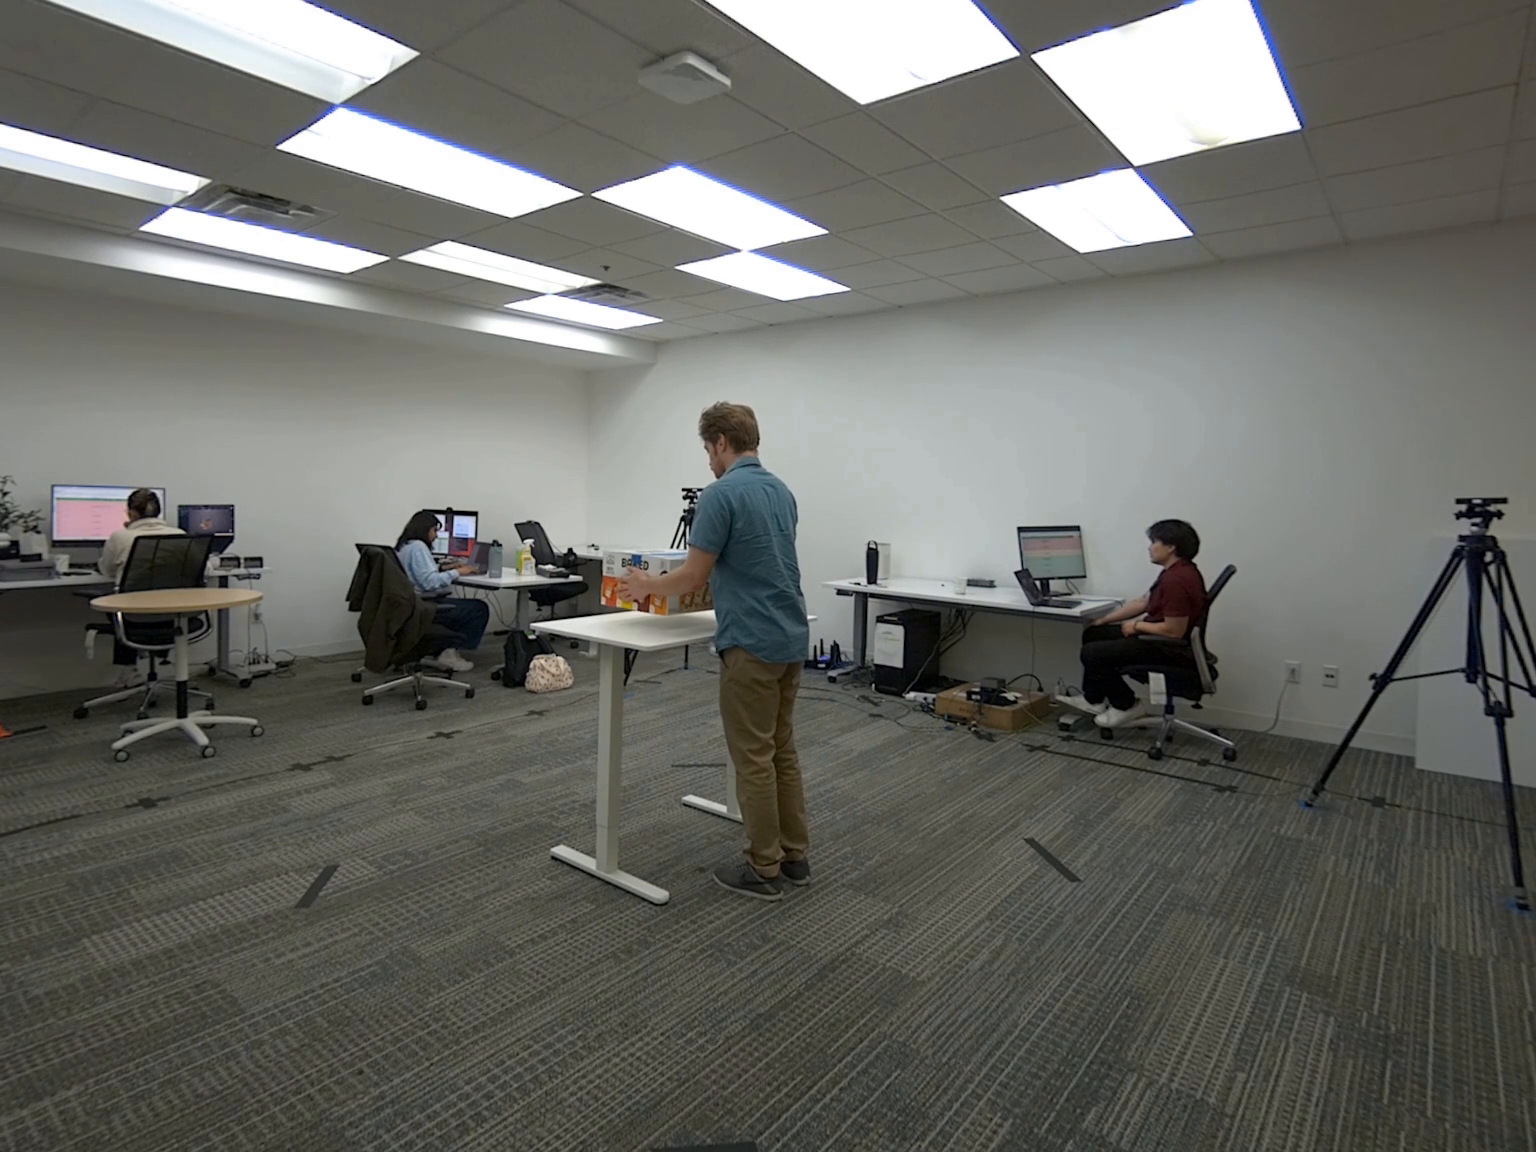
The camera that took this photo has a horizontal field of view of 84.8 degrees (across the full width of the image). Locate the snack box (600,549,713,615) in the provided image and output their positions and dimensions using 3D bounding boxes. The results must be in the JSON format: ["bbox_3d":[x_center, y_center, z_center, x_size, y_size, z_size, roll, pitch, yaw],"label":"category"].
[{"bbox_3d":[-0.381,0.012,3.244,0.352,0.205,0.393,7,6,36],"label":"snack box"}]
